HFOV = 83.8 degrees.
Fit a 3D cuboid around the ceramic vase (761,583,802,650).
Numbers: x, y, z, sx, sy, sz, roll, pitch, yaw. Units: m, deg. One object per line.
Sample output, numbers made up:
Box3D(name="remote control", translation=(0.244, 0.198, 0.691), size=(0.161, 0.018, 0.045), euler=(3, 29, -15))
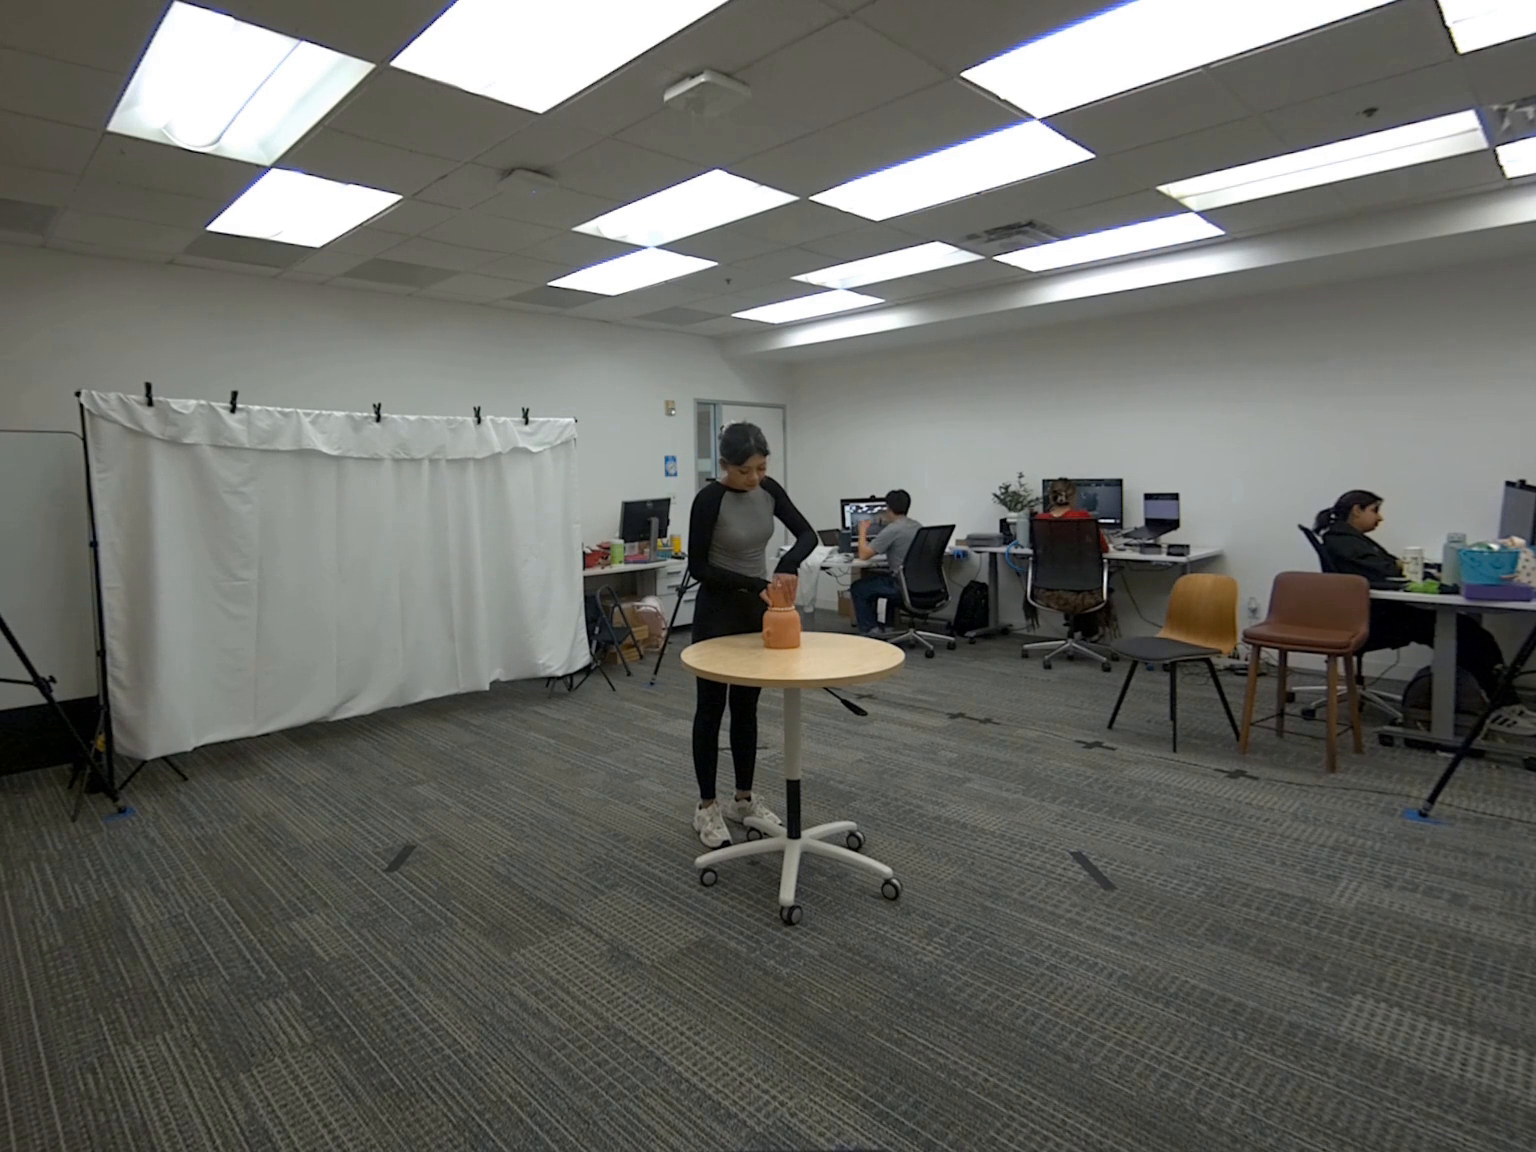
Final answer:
Box3D(name="ceramic vase", translation=(0.049, 0.140, 3.066), size=(0.135, 0.218, 0.159), euler=(0, 6, 6))
